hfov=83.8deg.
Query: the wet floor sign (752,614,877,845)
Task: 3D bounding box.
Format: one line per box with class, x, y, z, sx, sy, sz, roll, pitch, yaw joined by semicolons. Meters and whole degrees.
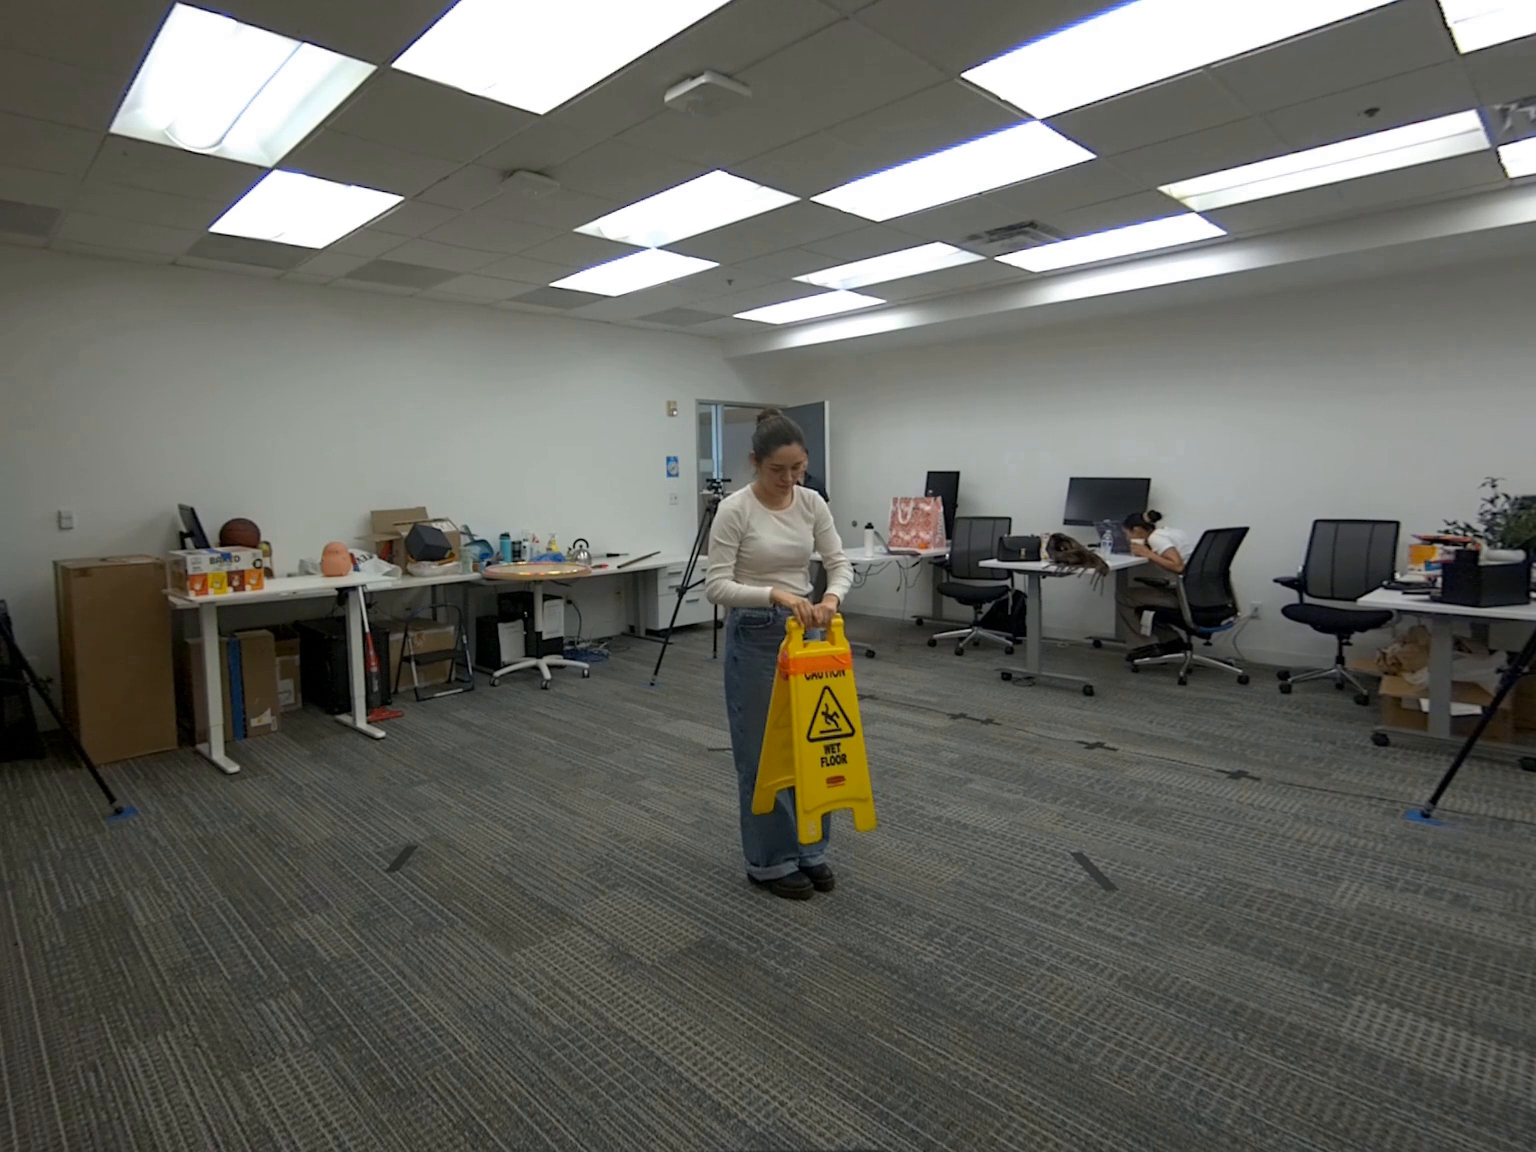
wet floor sign;0.146;0.449;2.651;0.275;0.644;0.298;-2;4;-32
